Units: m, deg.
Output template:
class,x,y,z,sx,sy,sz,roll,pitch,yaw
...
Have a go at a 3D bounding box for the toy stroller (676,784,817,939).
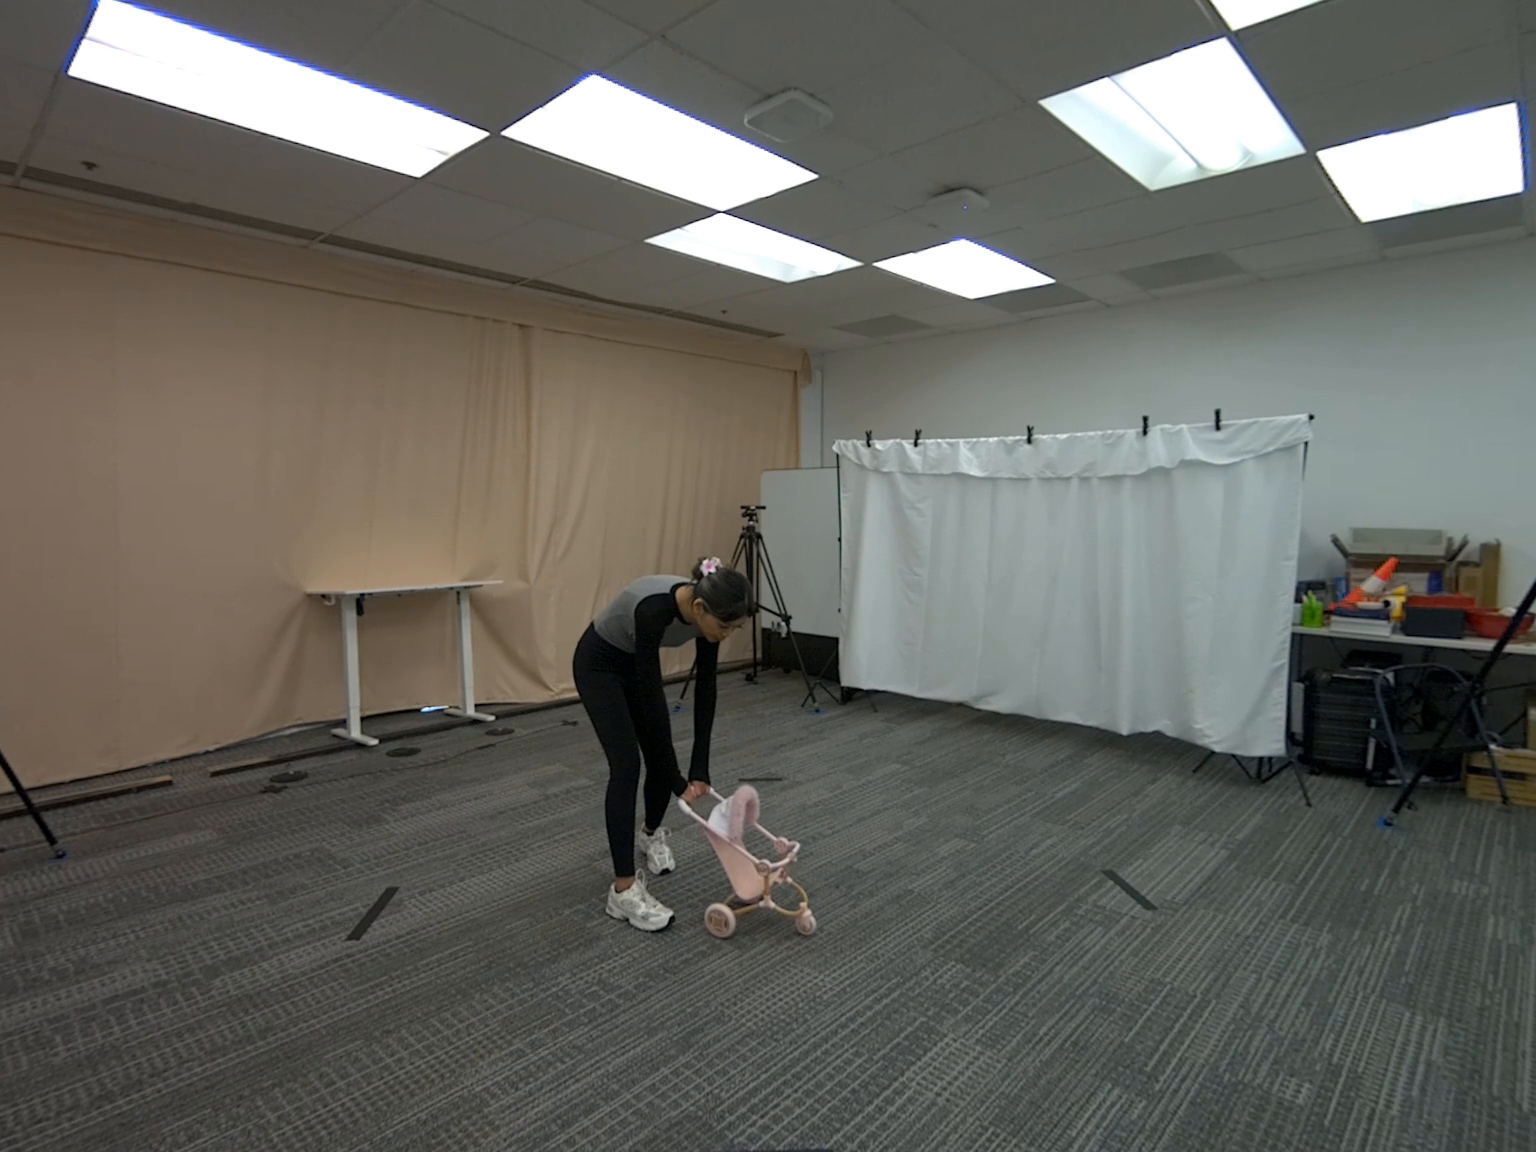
class,x,y,z,sx,sy,sz,roll,pitch,yaw
toy stroller,-0.056,0.939,2.791,0.348,0.537,0.275,-17,-4,26
